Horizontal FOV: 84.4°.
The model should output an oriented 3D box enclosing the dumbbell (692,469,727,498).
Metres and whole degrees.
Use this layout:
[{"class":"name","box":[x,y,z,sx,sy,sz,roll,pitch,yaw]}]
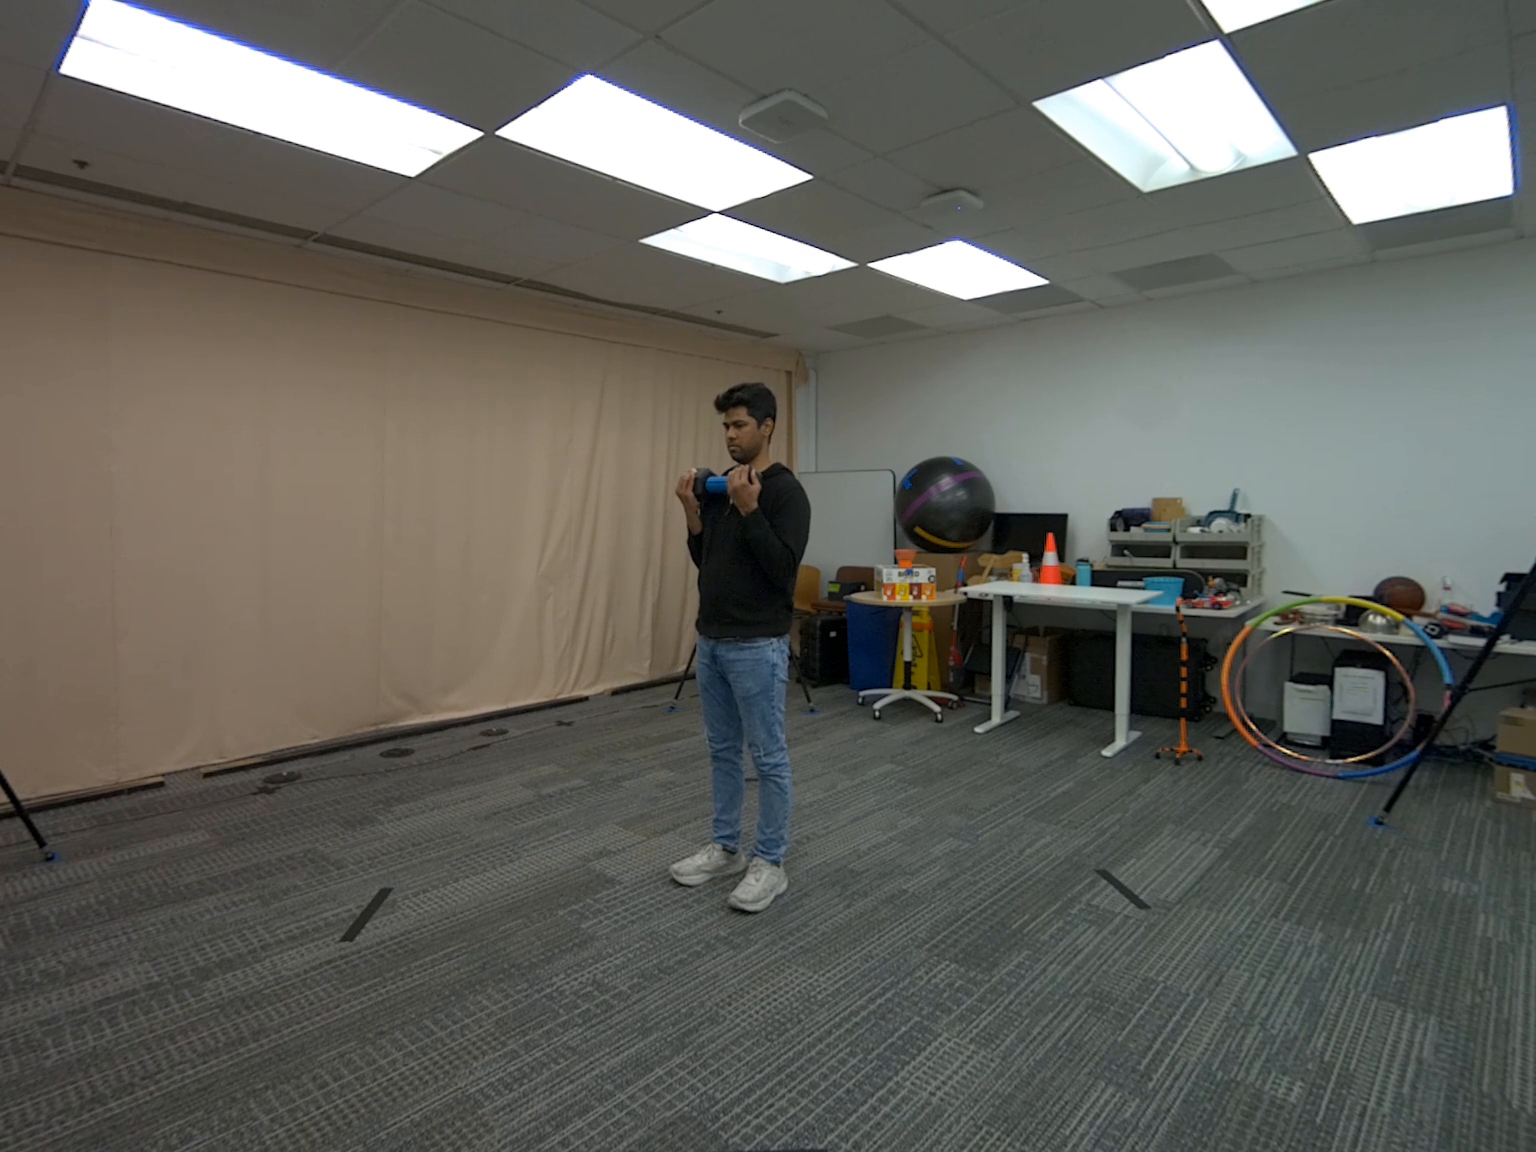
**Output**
[{"class":"dumbbell","box":[-0.150,-0.313,2.974,0.303,0.109,0.118,5,-20,43]}]
